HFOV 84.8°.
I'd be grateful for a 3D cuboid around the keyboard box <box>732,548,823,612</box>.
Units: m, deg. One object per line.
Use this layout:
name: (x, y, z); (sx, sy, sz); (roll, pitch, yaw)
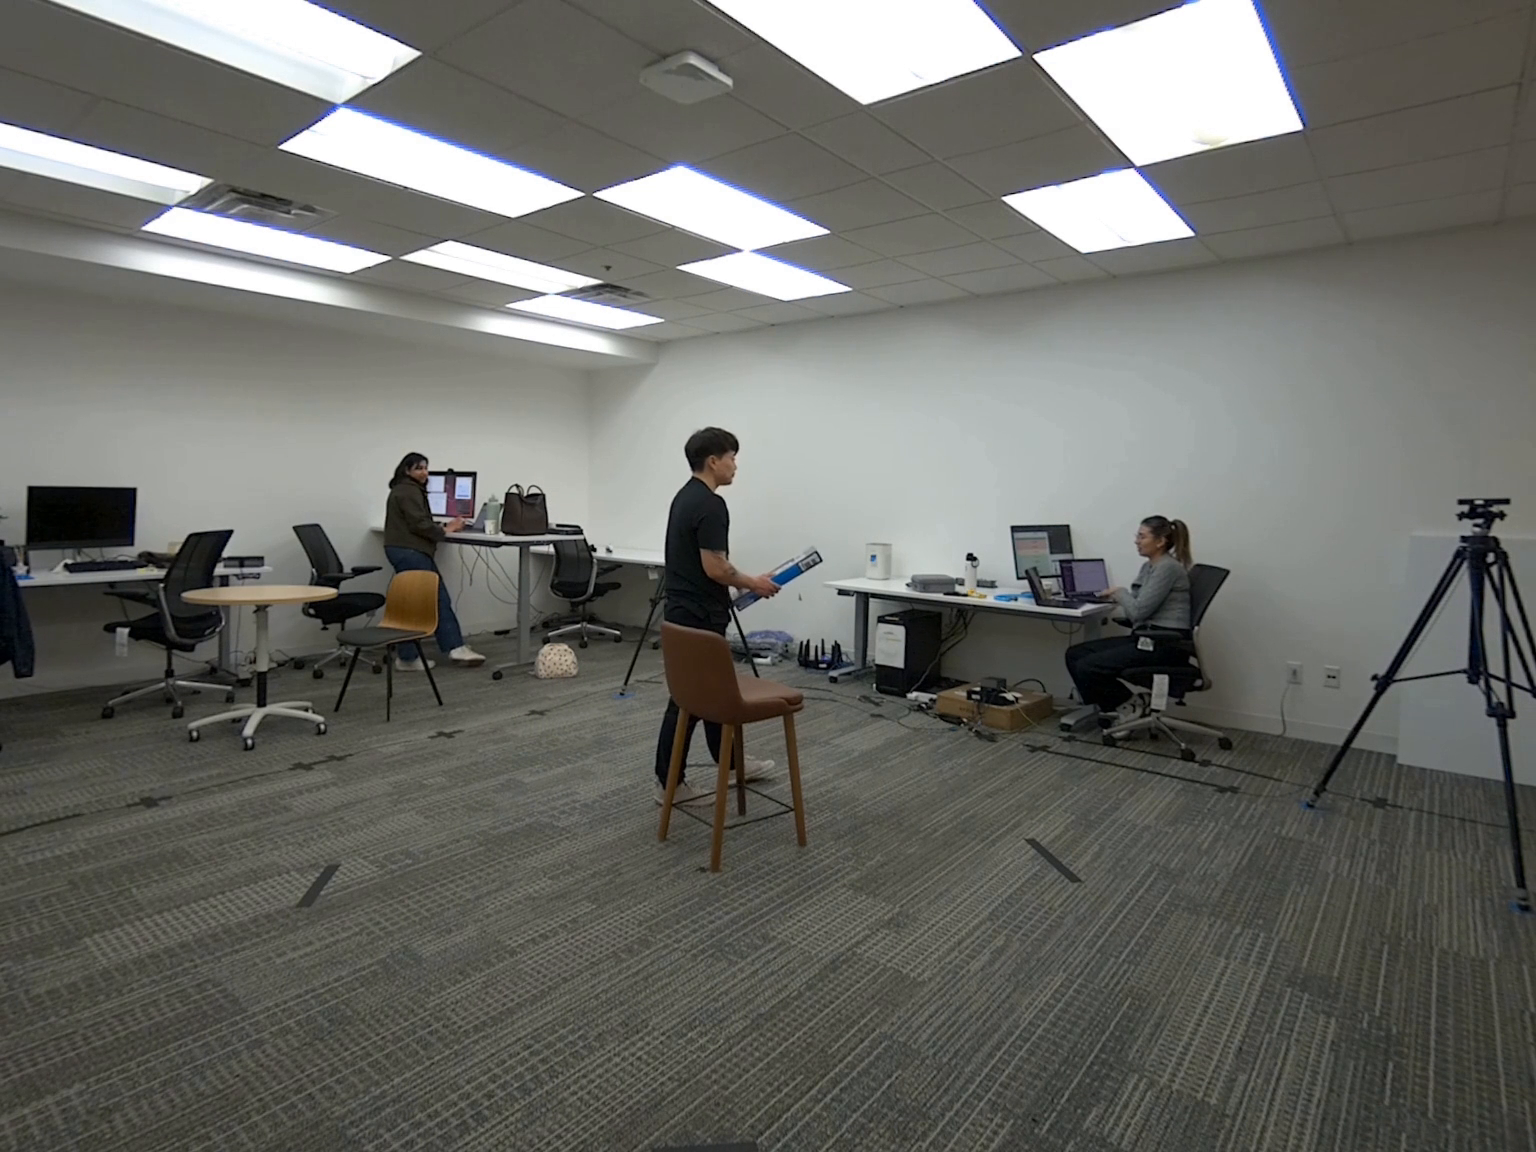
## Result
keyboard box: (0.033, 0.002, 3.838); (0.438, 0.058, 0.177); (-31, 9, 5)
